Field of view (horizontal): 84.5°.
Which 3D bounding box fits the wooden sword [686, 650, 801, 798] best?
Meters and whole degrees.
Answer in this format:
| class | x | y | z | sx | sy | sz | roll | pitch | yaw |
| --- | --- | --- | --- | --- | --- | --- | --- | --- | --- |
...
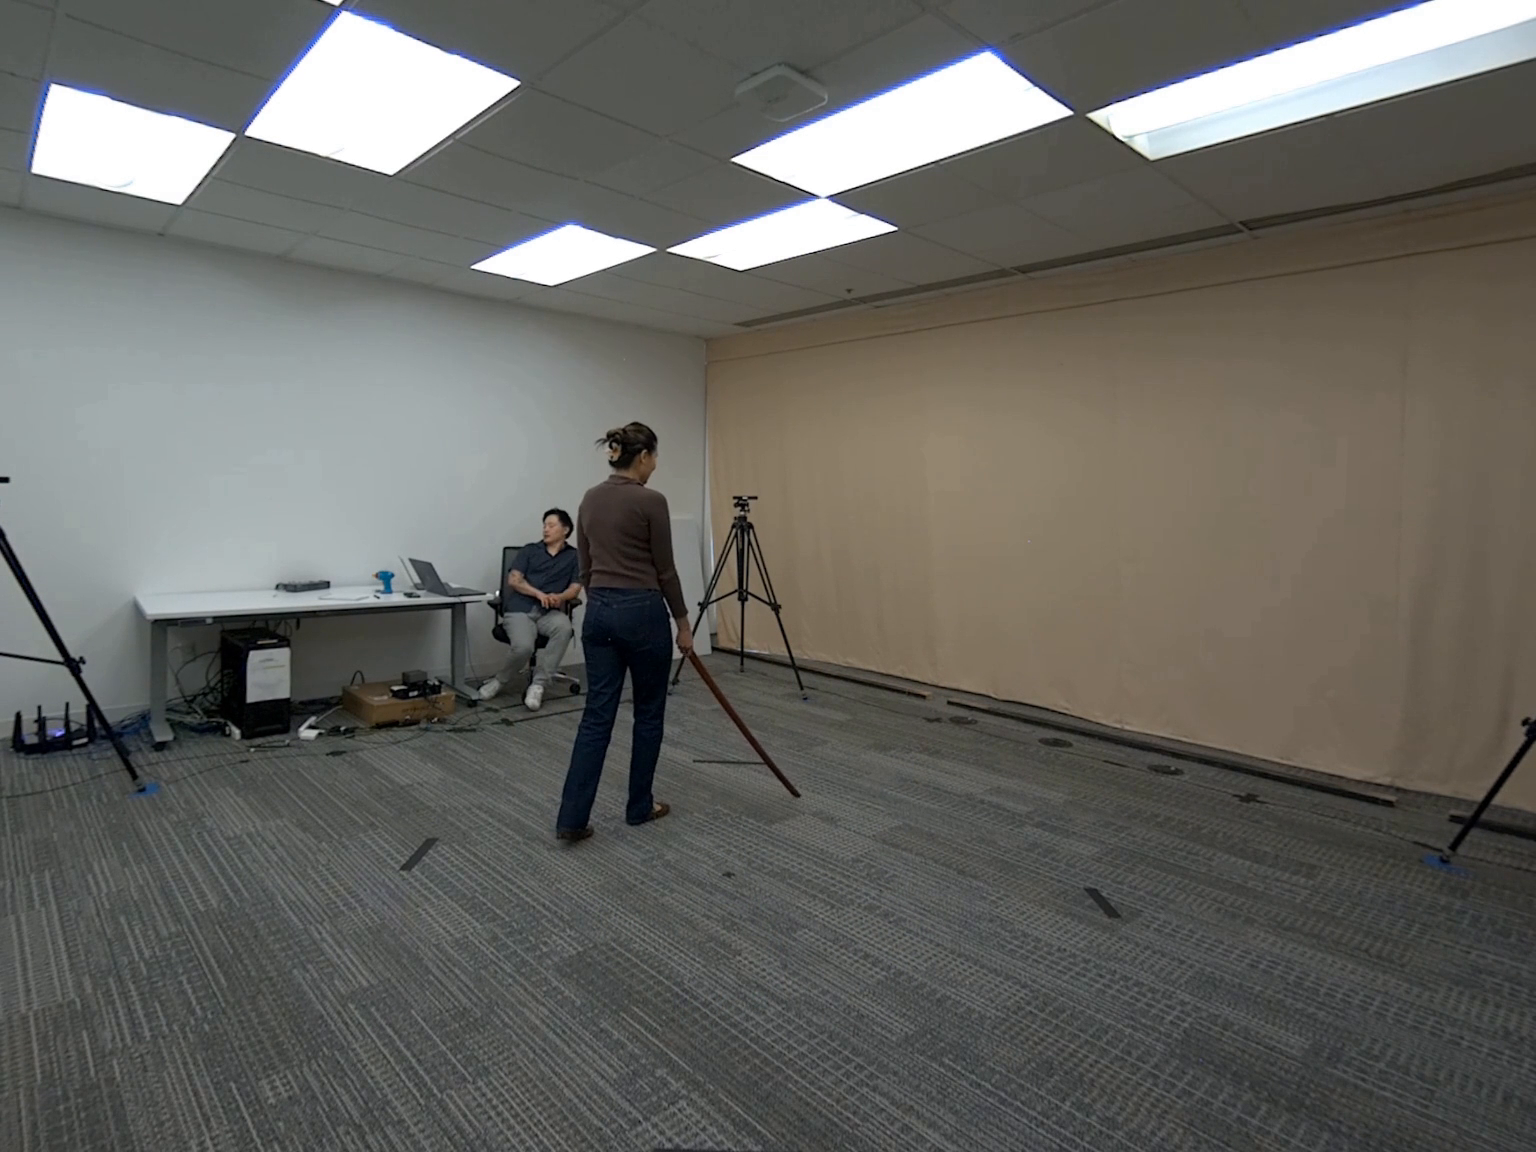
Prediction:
| class | x | y | z | sx | sy | sz | roll | pitch | yaw |
| --- | --- | --- | --- | --- | --- | --- | --- | --- | --- |
| wooden sword | -0.129 | 0.668 | 3.790 | 0.052 | 1.002 | 0.024 | -23 | 25 | 28 |
